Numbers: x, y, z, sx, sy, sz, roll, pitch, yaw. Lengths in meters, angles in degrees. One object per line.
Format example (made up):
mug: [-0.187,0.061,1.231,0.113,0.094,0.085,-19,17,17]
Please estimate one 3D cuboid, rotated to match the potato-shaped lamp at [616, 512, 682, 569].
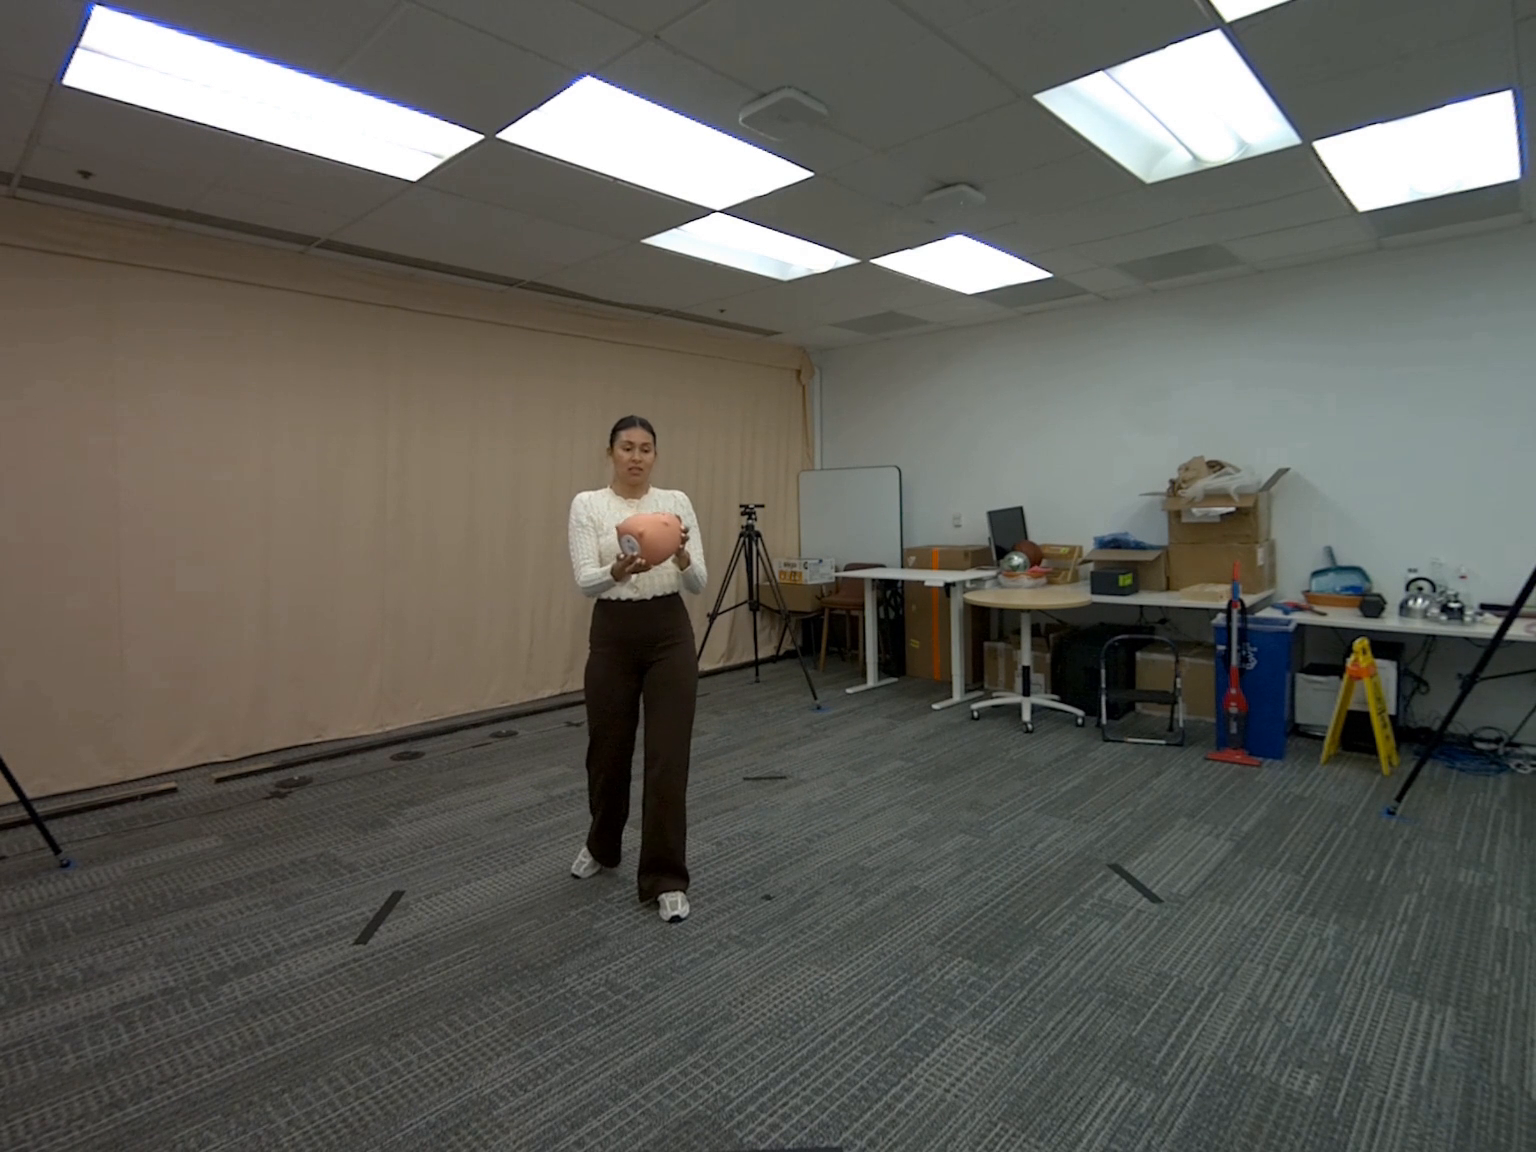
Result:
potato-shaped lamp: [-0.357,-0.120,2.573,0.170,0.168,0.195,9,33,38]
